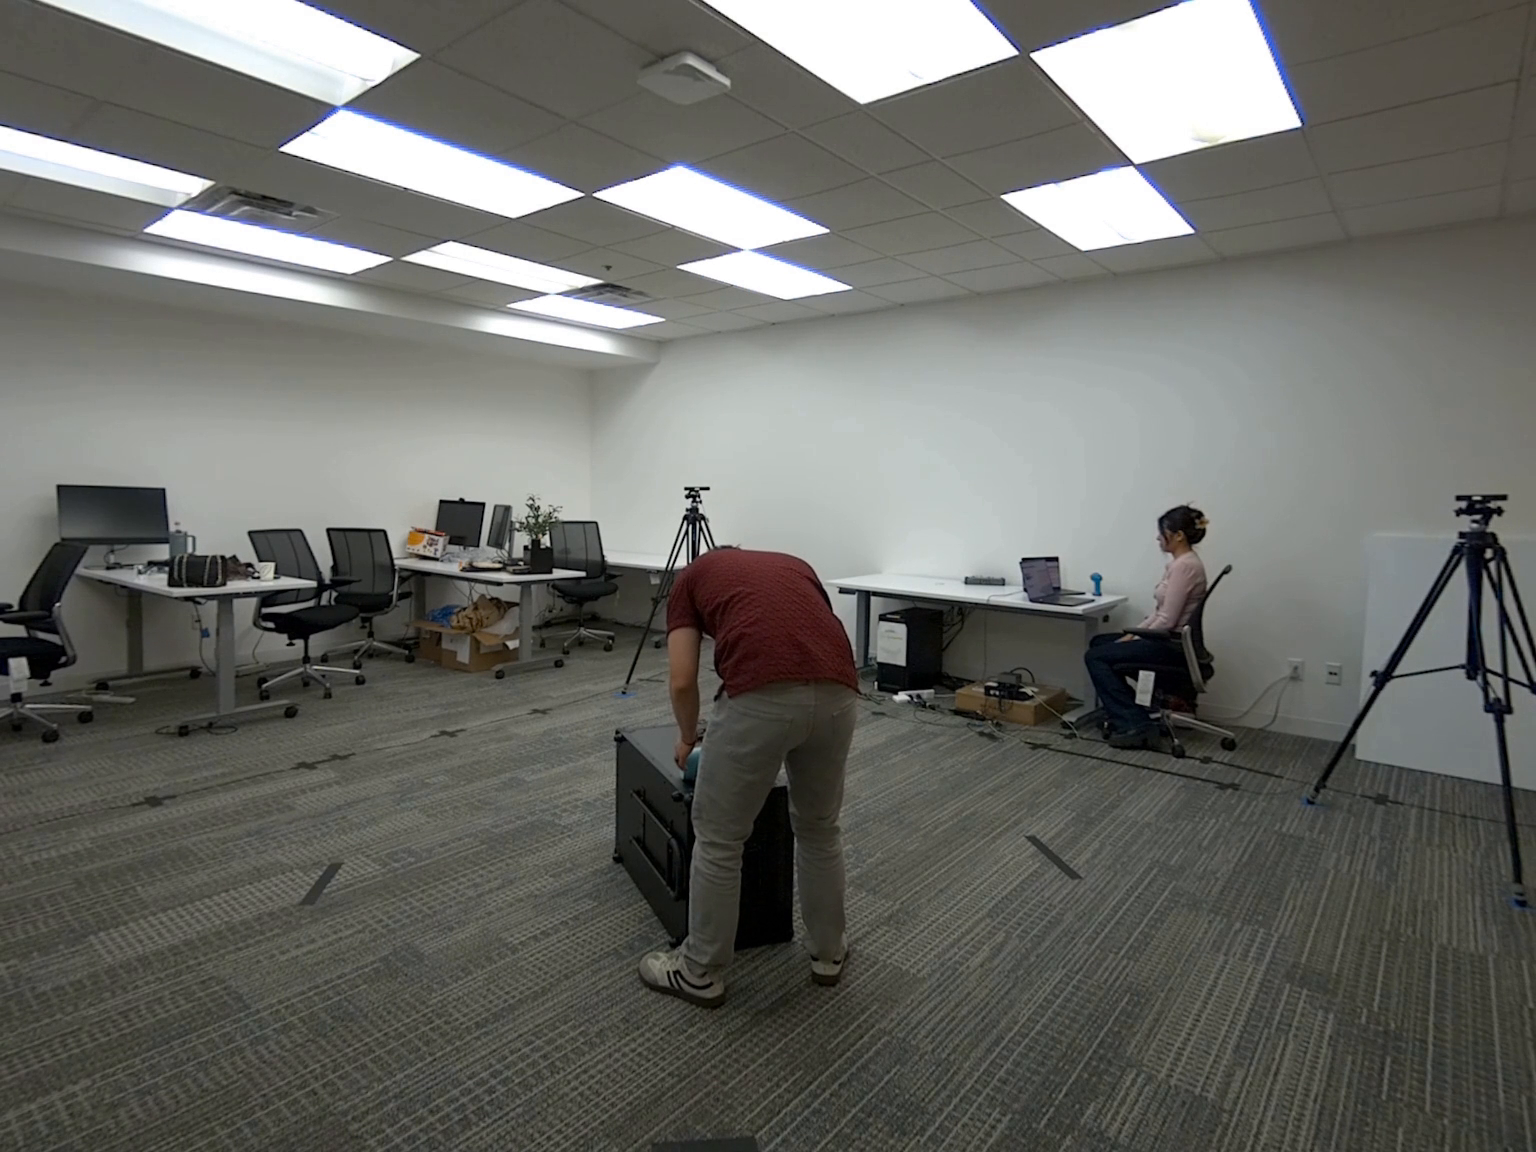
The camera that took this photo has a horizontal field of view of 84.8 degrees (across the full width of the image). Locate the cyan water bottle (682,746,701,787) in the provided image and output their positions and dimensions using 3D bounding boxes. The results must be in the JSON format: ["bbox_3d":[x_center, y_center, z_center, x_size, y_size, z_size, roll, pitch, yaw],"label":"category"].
[{"bbox_3d":[-0.157,0.570,2.668,0.279,0.092,0.094,-6,6,-16],"label":"cyan water bottle"}]
